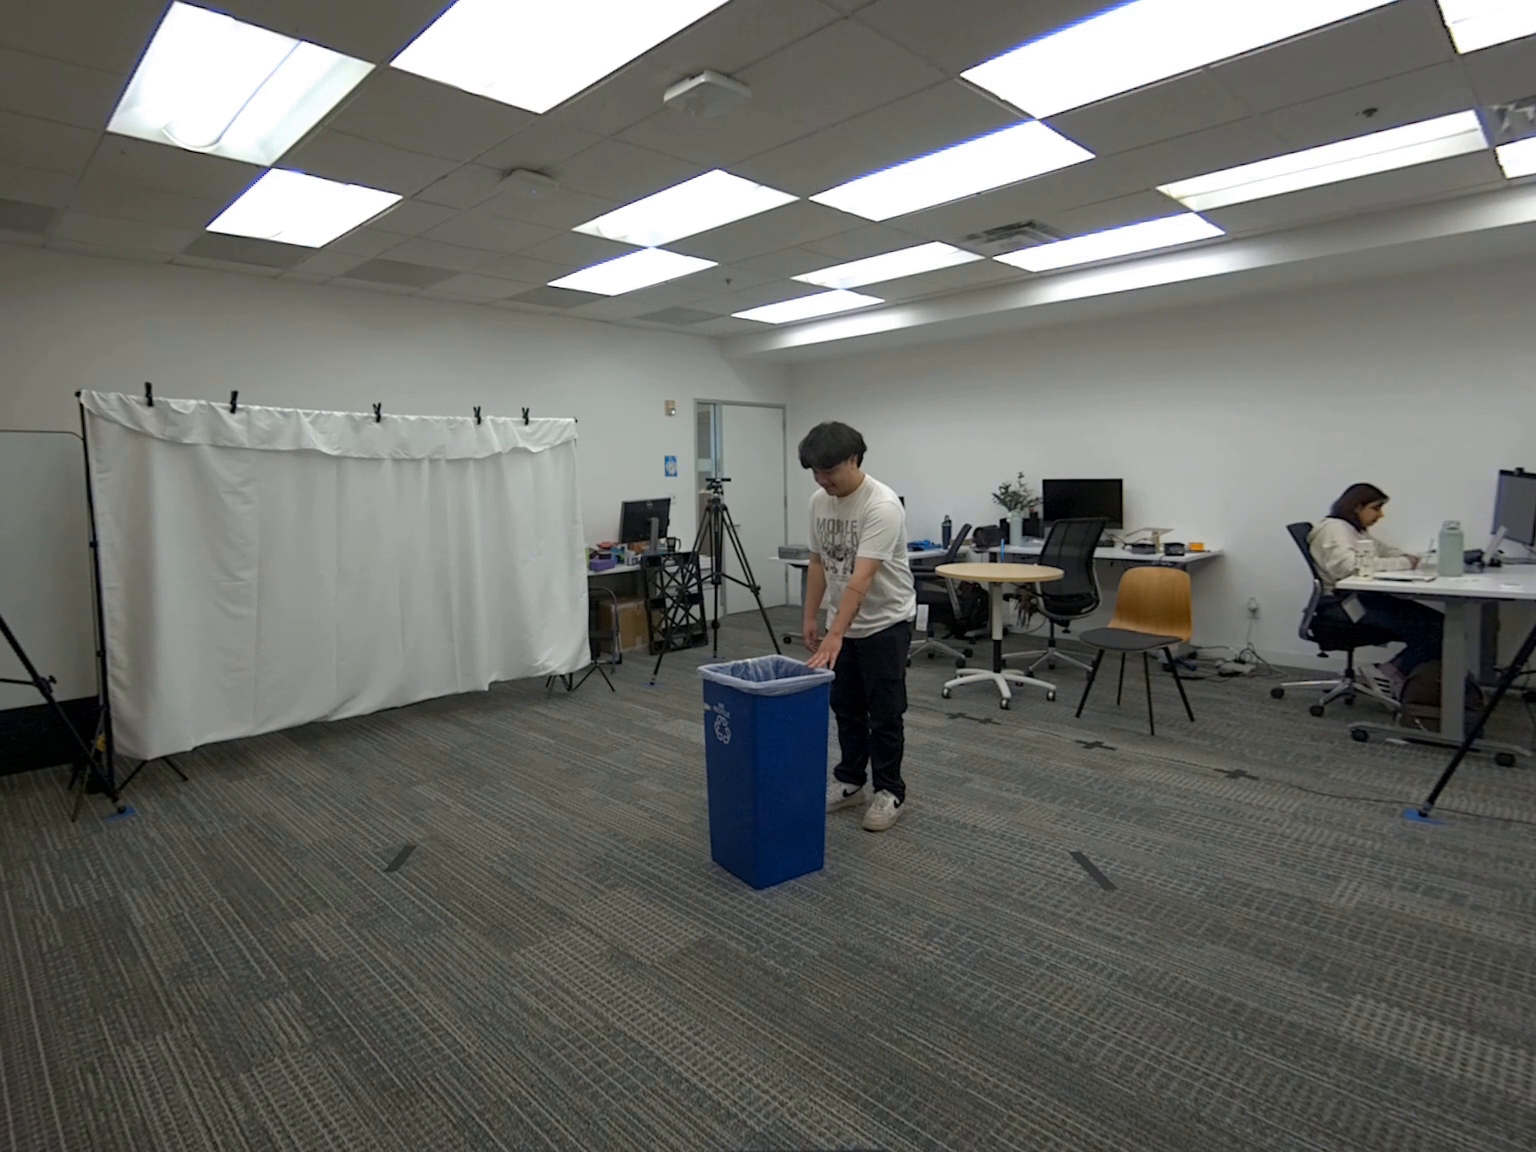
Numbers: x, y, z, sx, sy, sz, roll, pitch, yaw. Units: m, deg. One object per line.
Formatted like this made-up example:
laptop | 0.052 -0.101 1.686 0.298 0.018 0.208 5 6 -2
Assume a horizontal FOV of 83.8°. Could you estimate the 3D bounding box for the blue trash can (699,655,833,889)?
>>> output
blue trash can | 0.000 0.686 3.068 0.368 0.711 0.385 -4 5 -35
